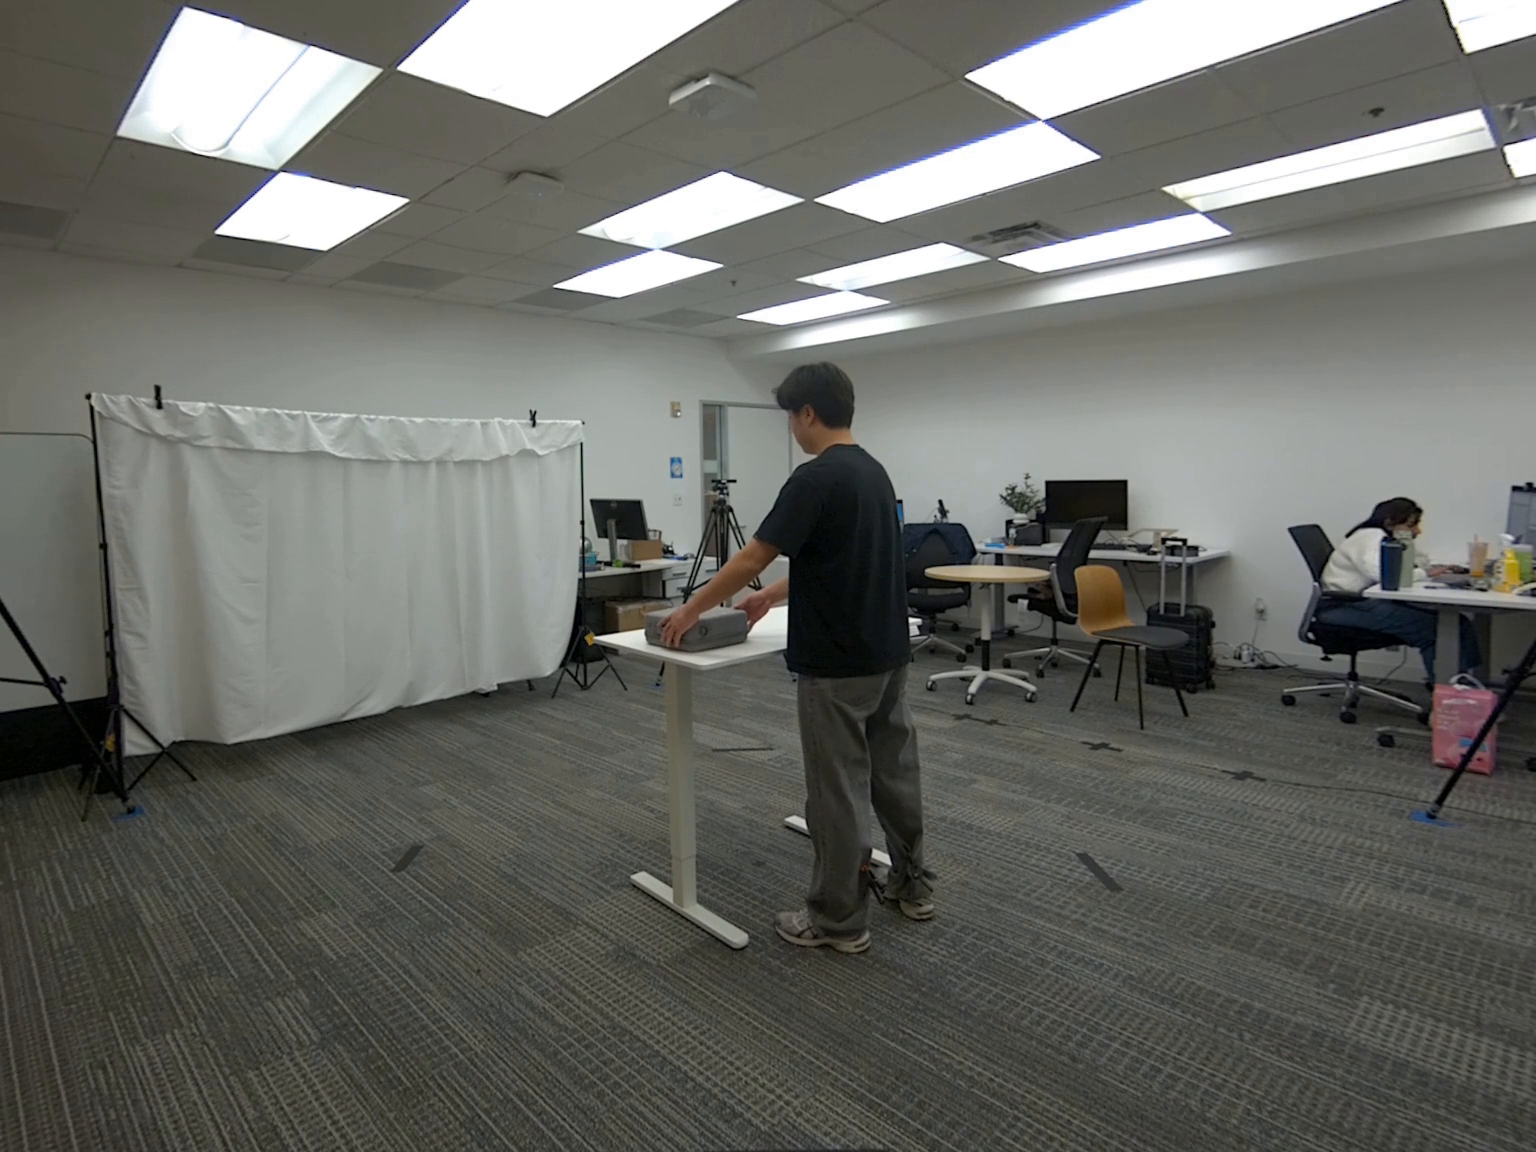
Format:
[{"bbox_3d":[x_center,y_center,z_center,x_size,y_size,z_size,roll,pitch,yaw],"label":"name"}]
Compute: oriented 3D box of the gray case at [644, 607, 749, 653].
[{"bbox_3d":[-0.236,0.164,2.718,0.280,0.102,0.271,-6,8,-40],"label":"gray case"}]
